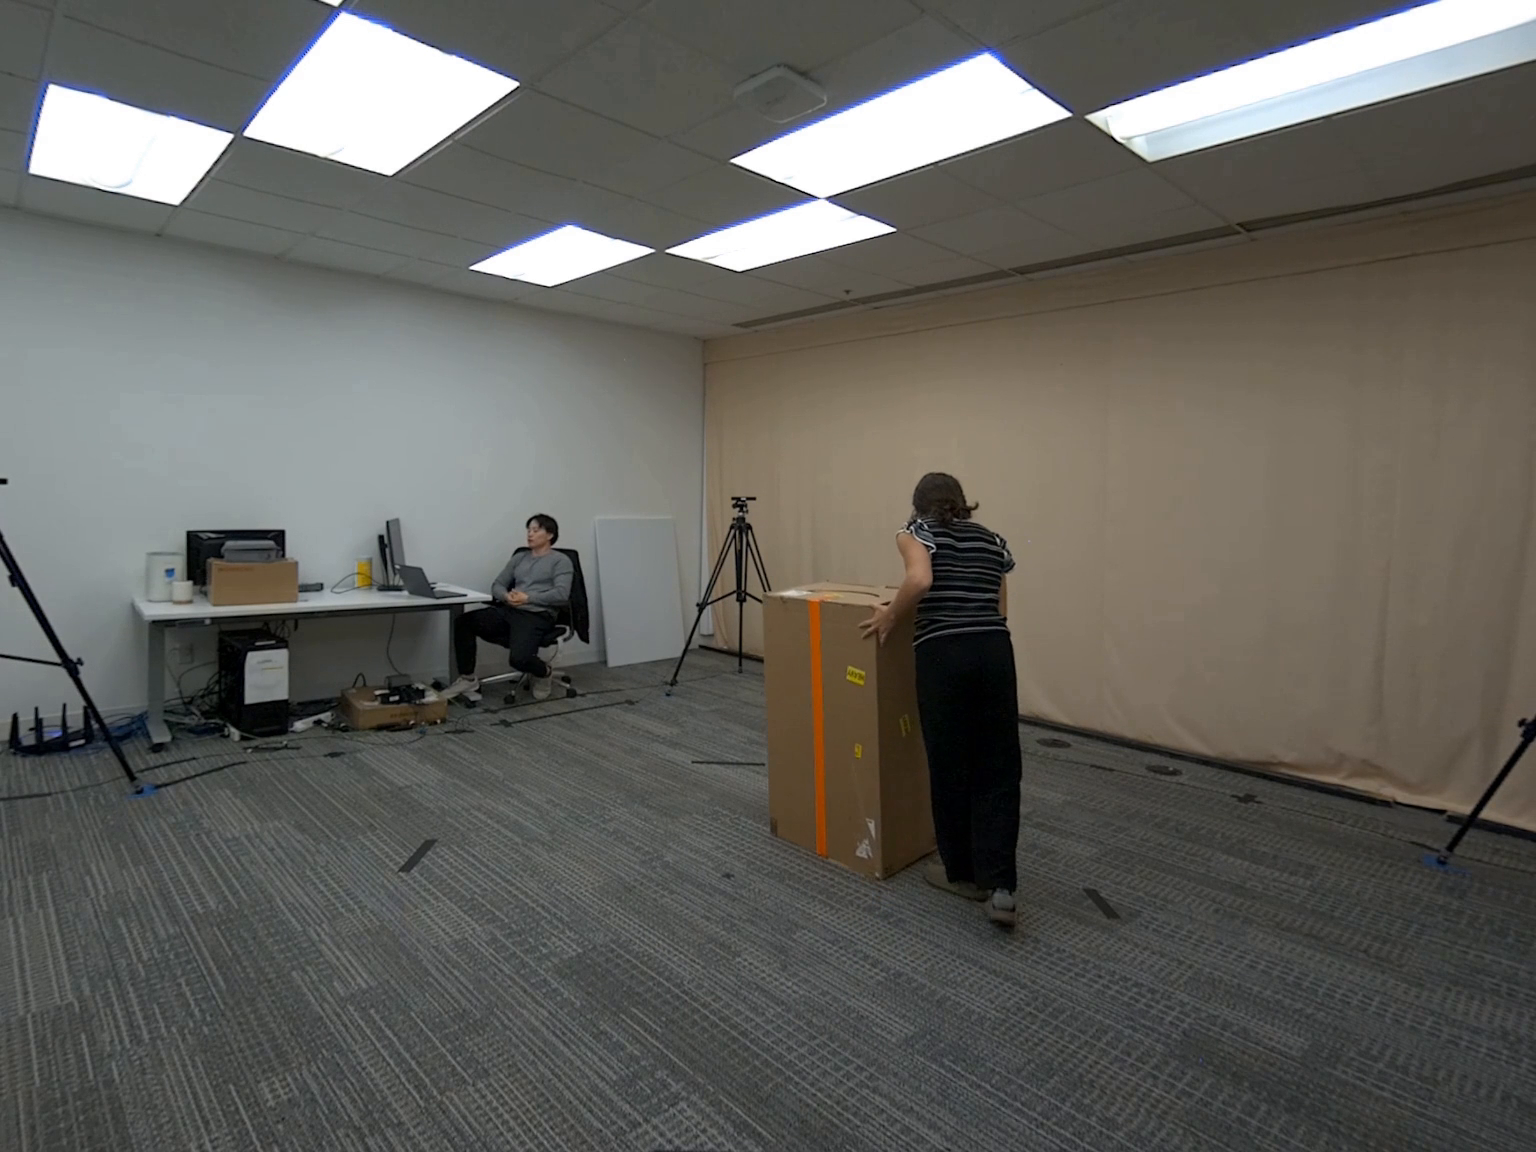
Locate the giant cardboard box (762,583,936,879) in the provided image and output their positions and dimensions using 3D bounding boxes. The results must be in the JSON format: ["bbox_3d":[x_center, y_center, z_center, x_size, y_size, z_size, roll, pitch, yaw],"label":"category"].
[{"bbox_3d":[0.333,0.579,3.400,0.417,1.022,0.592,-6,7,-44],"label":"giant cardboard box"}]
